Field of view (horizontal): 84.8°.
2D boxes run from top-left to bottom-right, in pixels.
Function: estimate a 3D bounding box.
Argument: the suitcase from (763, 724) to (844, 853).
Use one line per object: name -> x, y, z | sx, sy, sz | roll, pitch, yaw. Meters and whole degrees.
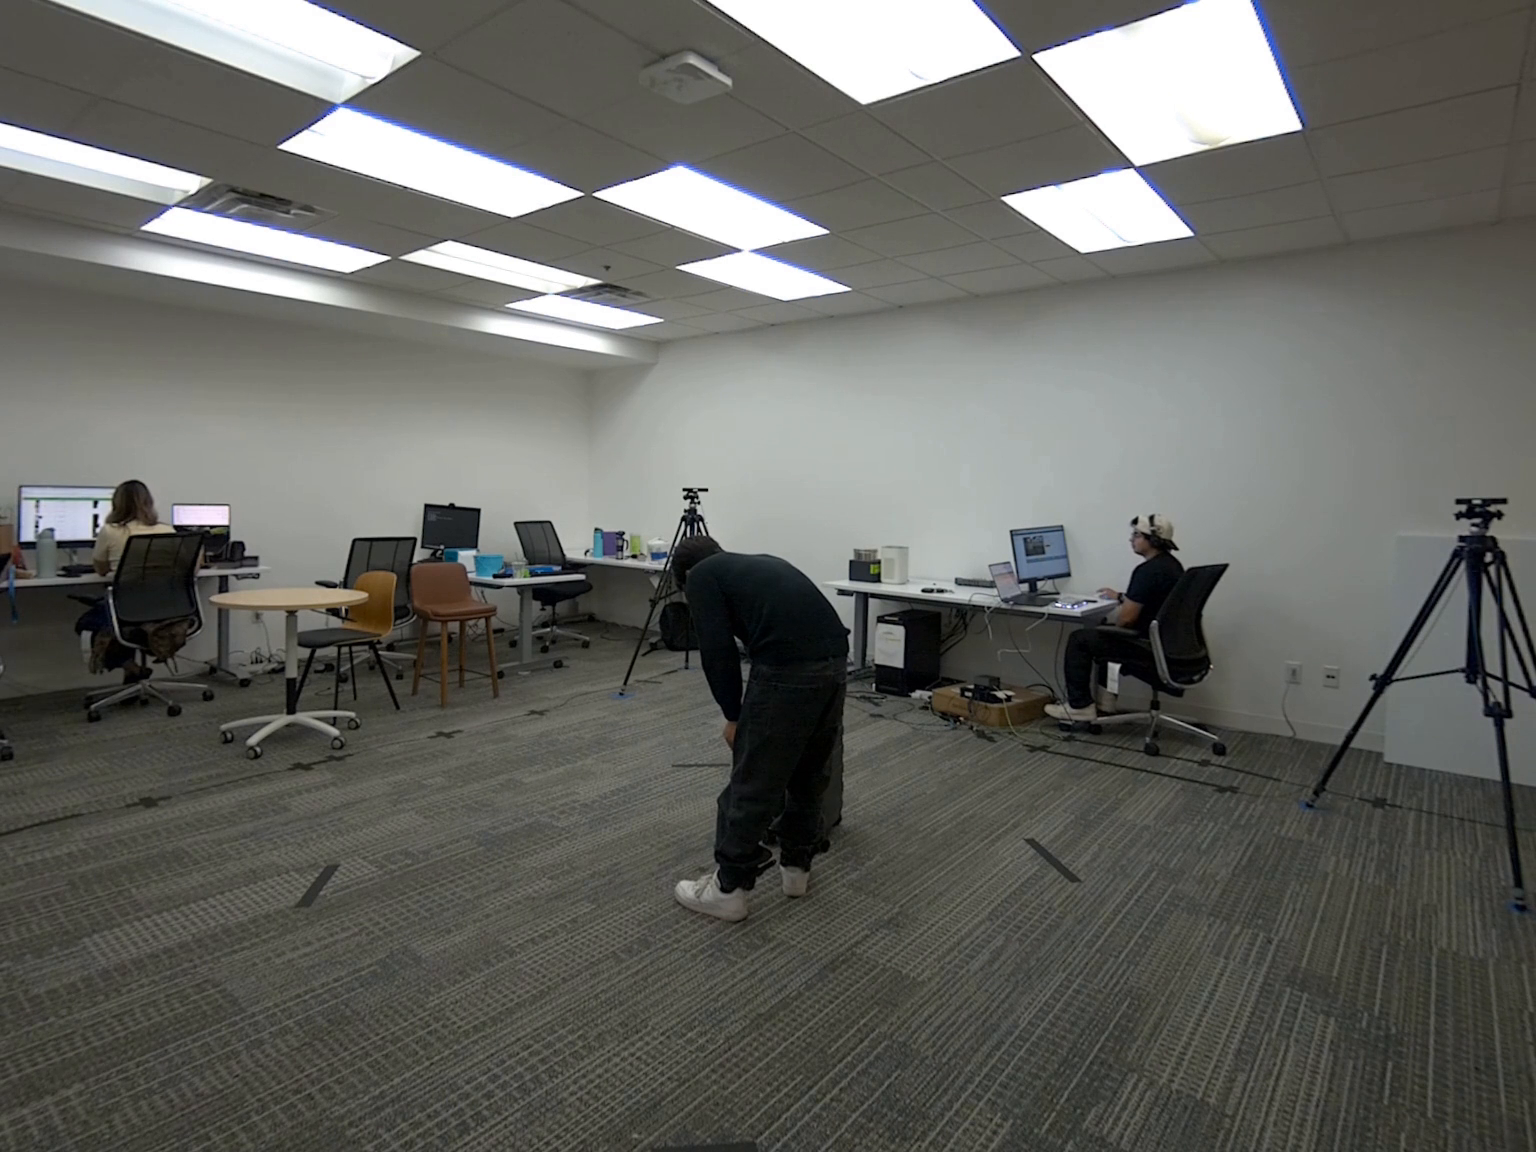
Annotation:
suitcase -> 0.141, 0.766, 3.444 | 0.254, 0.548, 0.368 | 1, 4, 20
